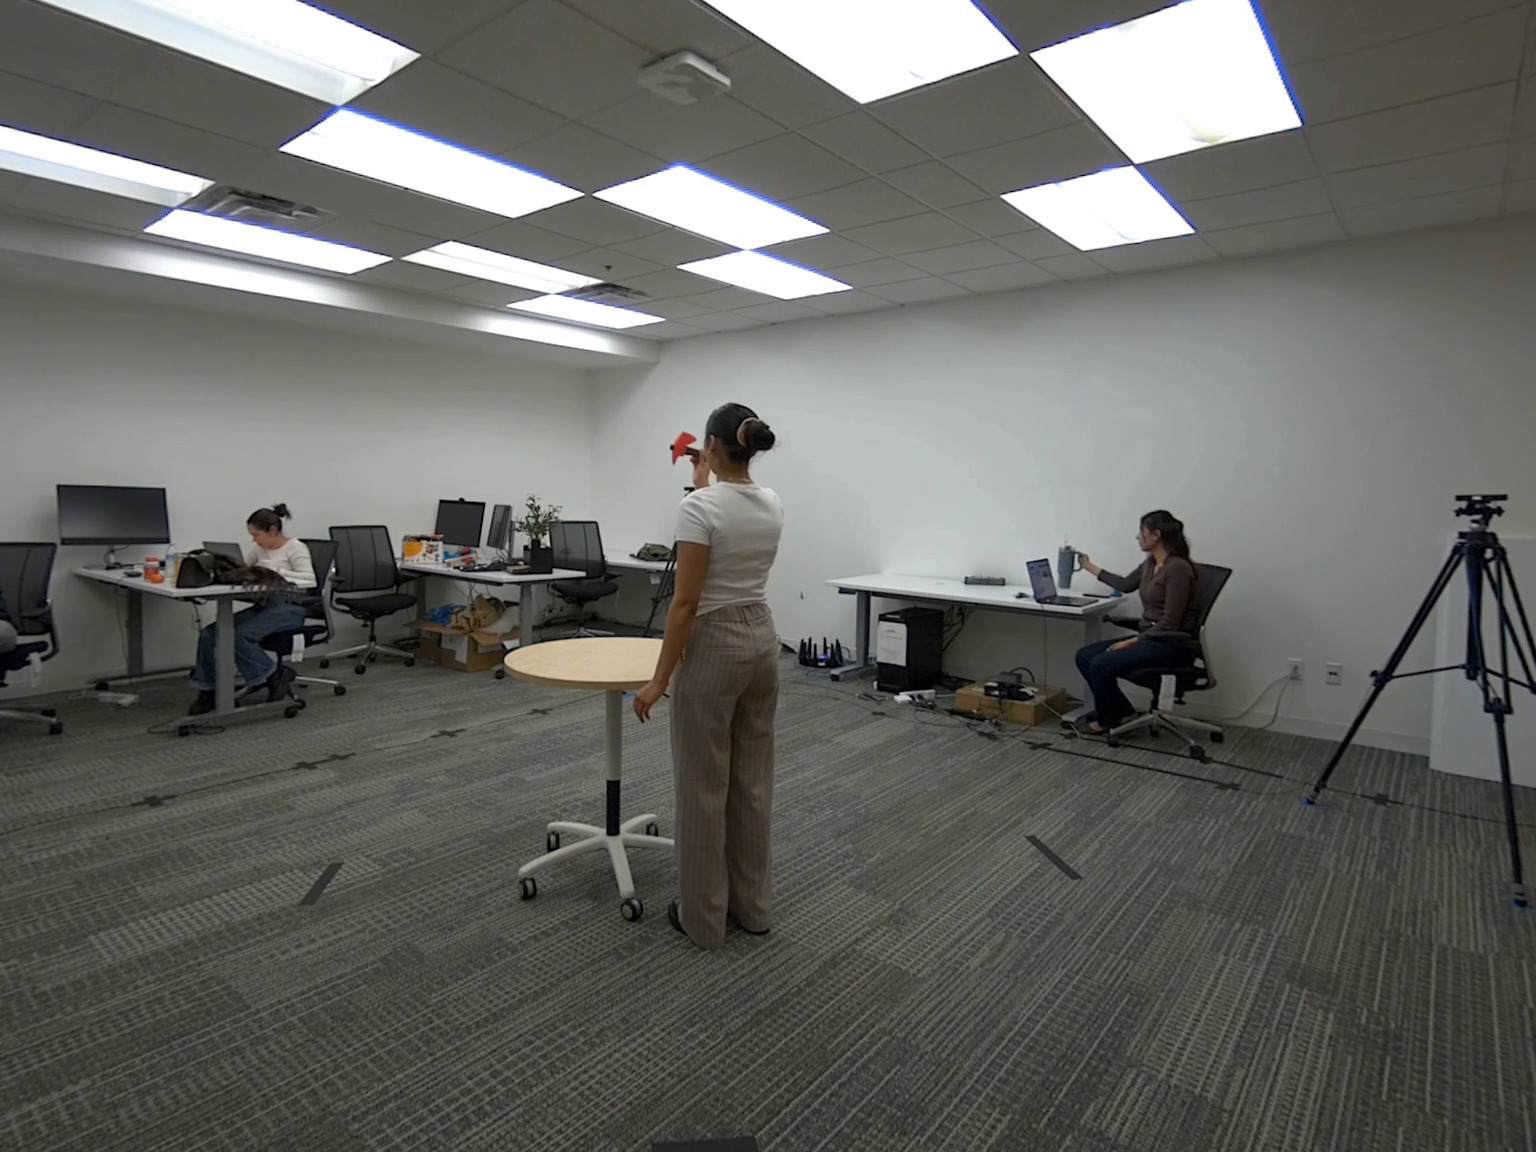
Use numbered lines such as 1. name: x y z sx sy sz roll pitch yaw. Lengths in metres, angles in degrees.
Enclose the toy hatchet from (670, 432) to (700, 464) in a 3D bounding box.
1. toy hatchet: -0.225 -0.466 2.987 0.270 0.127 0.030 -11 36 0
